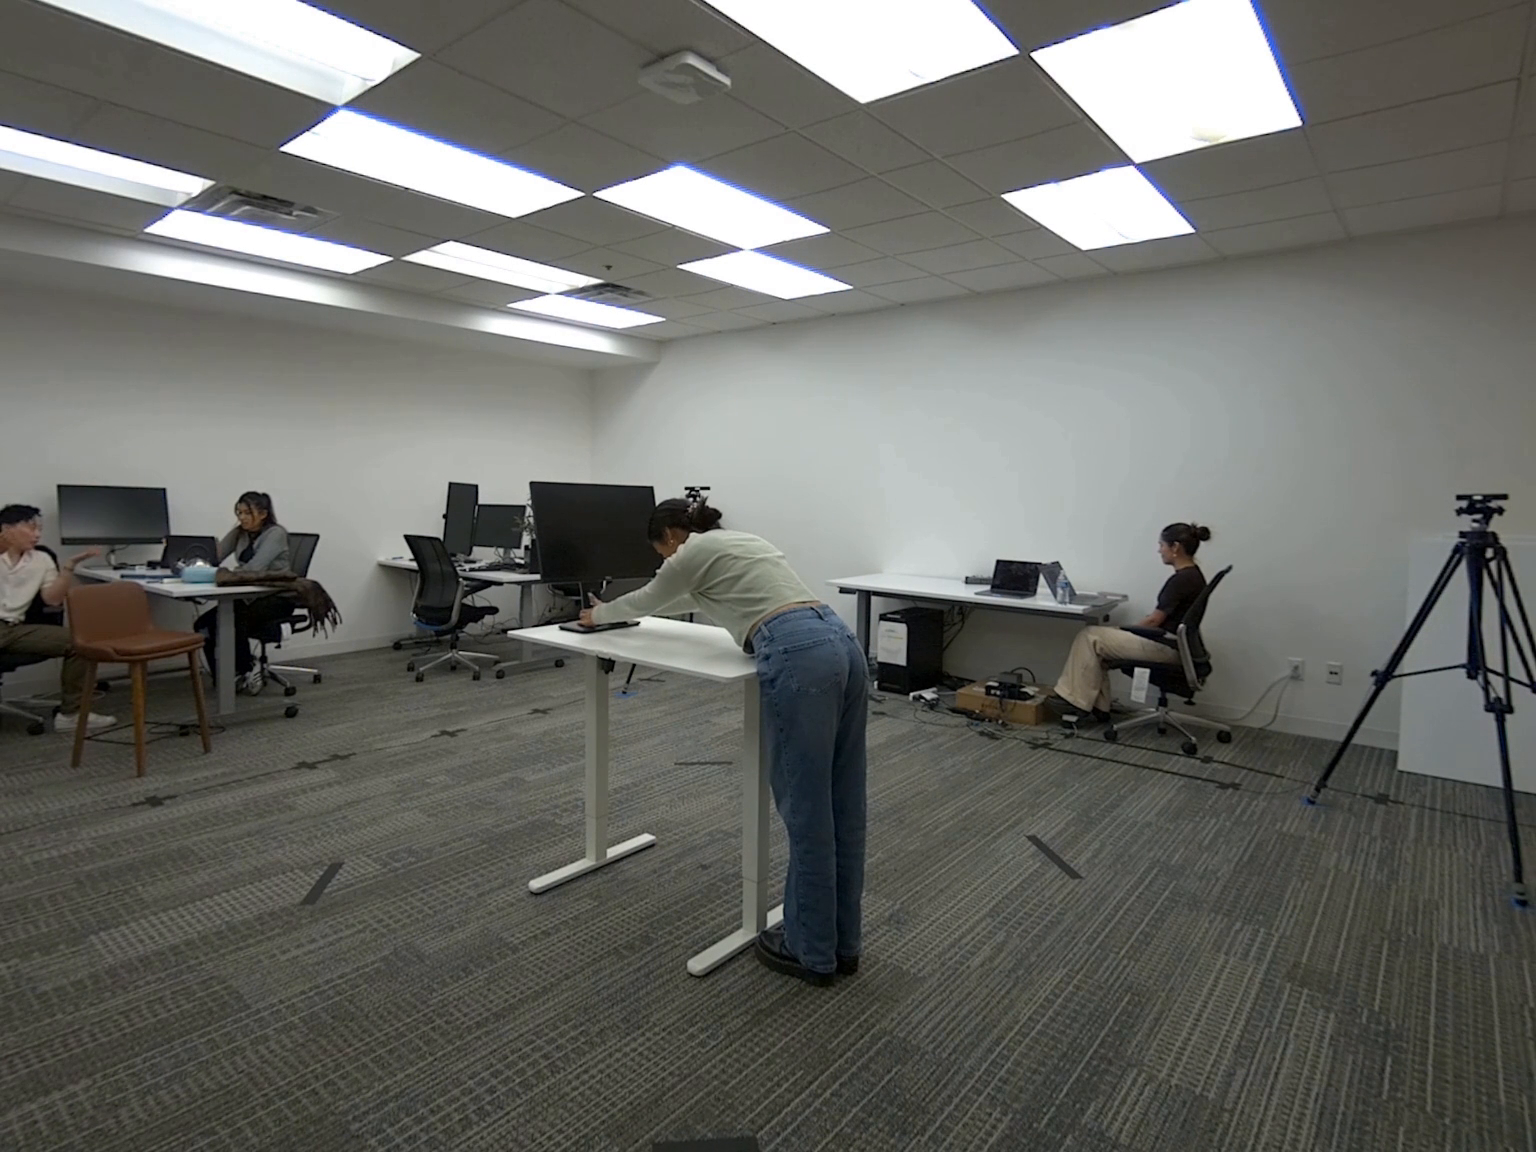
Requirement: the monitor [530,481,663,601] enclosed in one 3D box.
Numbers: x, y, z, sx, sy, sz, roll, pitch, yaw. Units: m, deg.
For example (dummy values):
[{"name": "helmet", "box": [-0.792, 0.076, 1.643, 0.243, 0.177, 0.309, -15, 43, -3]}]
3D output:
[{"name": "monitor", "box": [-0.640, -0.072, 3.048, 0.193, 0.522, 0.522, -1, 1, 42]}]
